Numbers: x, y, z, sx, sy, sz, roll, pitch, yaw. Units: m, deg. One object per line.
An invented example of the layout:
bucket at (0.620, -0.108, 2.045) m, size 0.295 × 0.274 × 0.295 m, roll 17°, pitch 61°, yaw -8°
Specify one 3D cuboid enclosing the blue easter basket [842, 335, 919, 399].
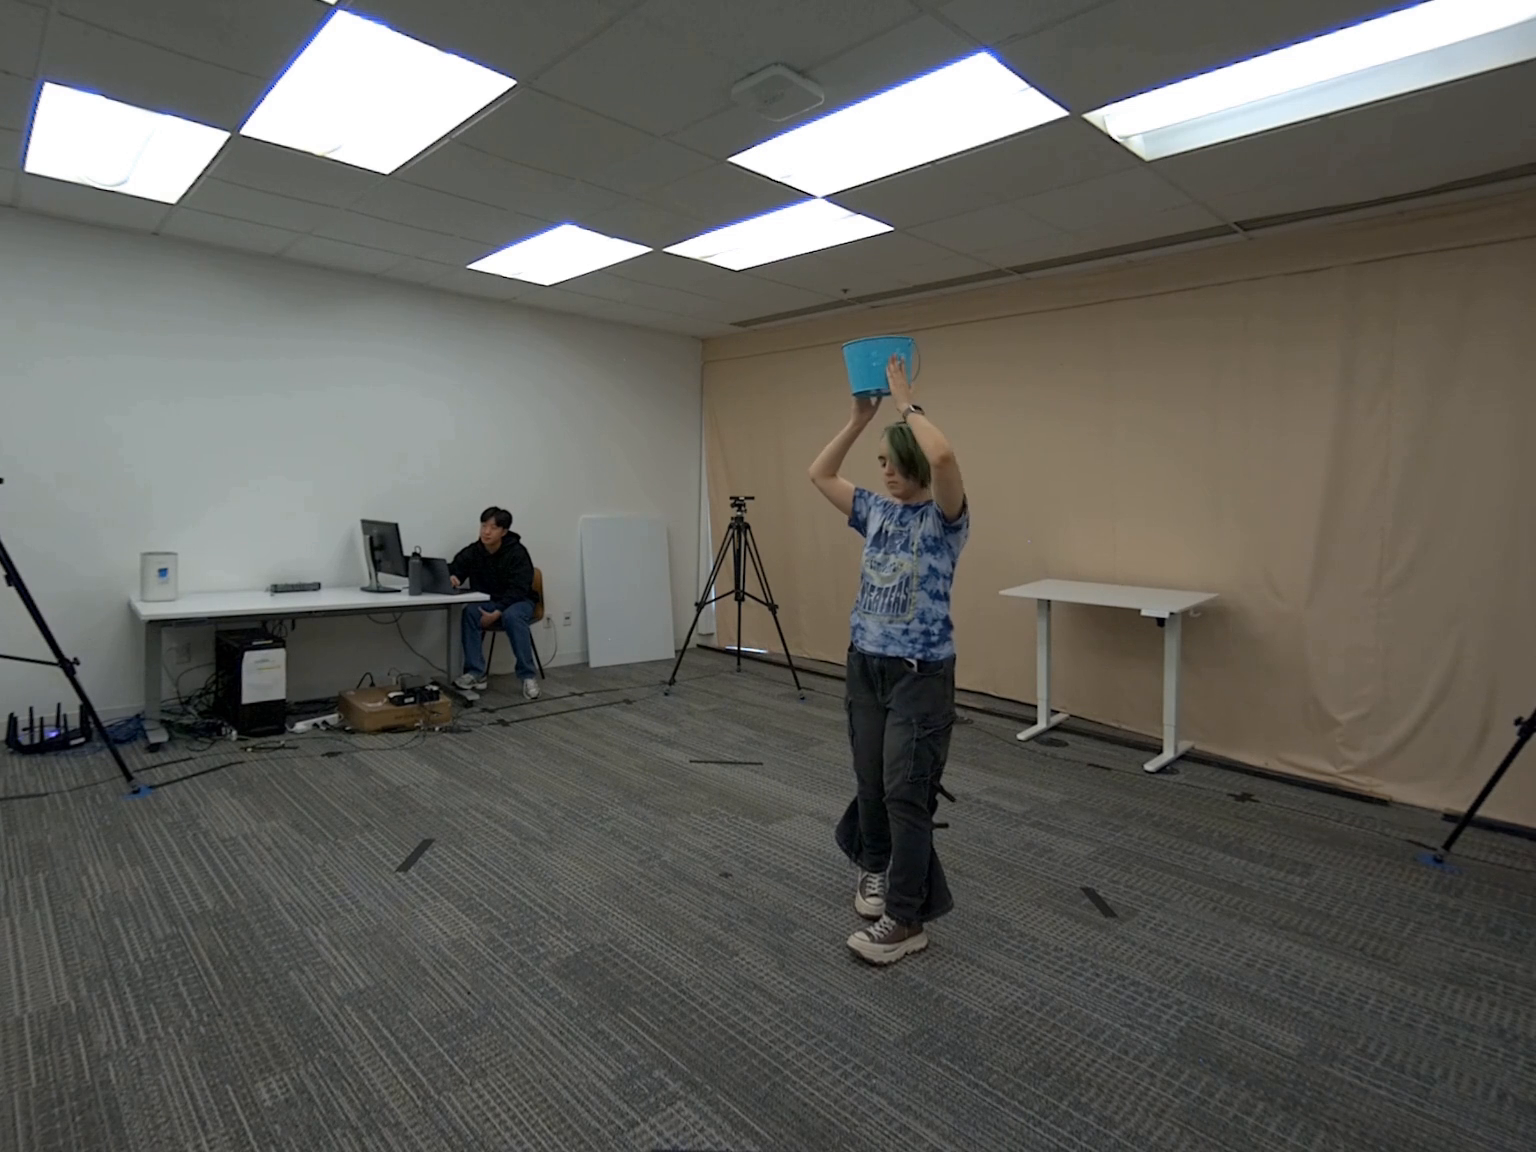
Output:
blue easter basket at (0.362, -0.652, 2.641) m, size 0.243 × 0.155 × 0.244 m, roll -3°, pitch 3°, yaw -1°
